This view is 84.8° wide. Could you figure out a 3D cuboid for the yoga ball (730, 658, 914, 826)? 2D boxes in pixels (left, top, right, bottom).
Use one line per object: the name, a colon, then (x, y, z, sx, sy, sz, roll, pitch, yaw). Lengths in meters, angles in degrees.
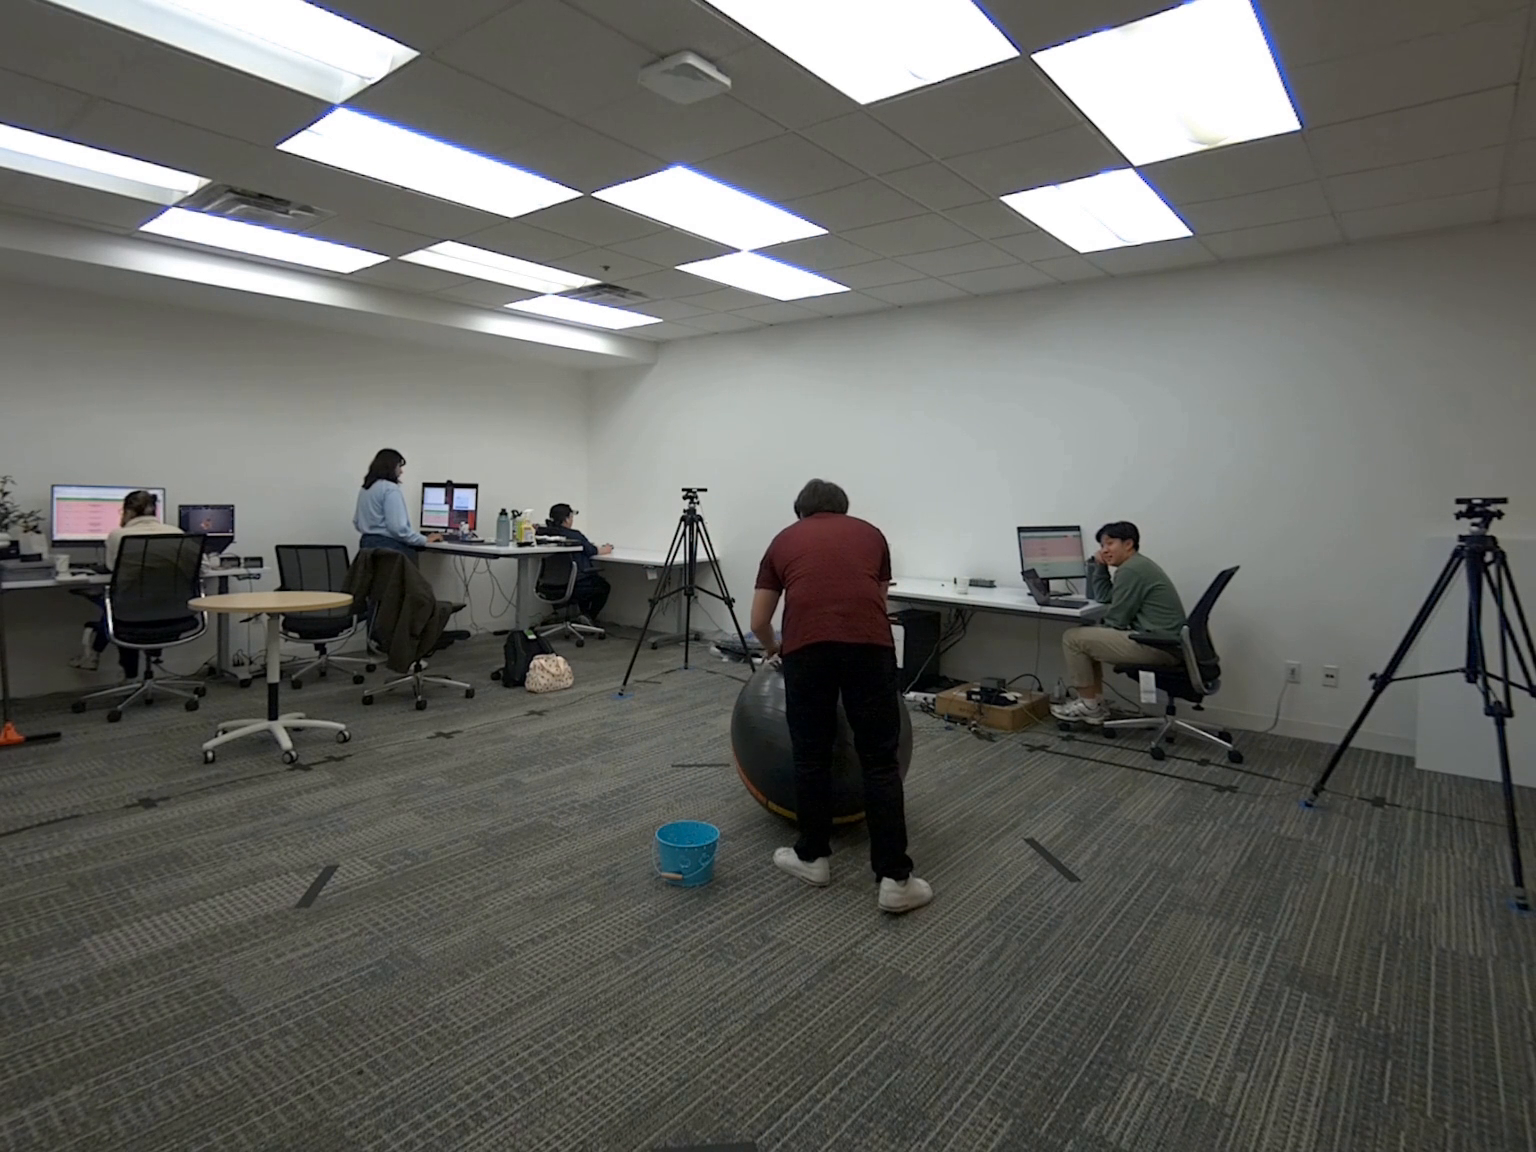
yoga ball: (0.216, 0.671, 3.591, 0.757, 0.755, 0.762, 1, 4, -2)
